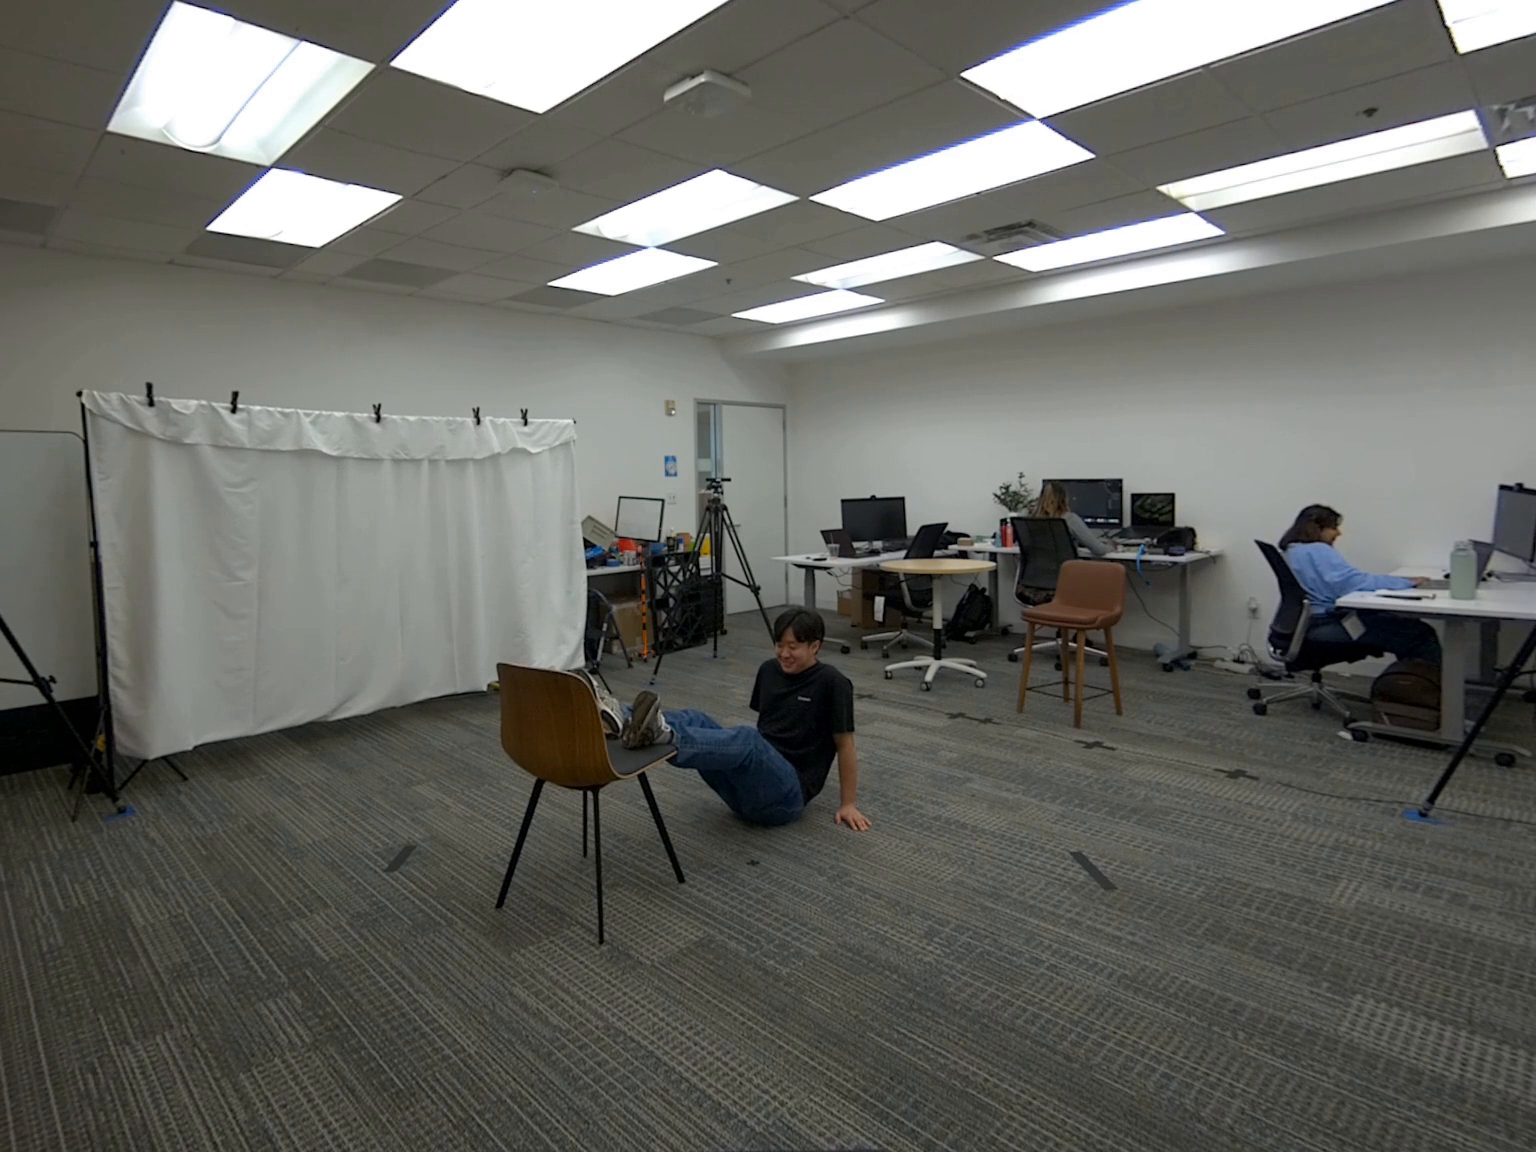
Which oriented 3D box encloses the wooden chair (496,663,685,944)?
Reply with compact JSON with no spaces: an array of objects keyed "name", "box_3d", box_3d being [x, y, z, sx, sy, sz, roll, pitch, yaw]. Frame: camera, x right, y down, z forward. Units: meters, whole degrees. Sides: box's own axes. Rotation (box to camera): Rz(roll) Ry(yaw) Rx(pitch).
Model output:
[{"name":"wooden chair","box_3d":[-0.592,0.654,2.856,0.491,0.871,0.513,1,9,30]}]
